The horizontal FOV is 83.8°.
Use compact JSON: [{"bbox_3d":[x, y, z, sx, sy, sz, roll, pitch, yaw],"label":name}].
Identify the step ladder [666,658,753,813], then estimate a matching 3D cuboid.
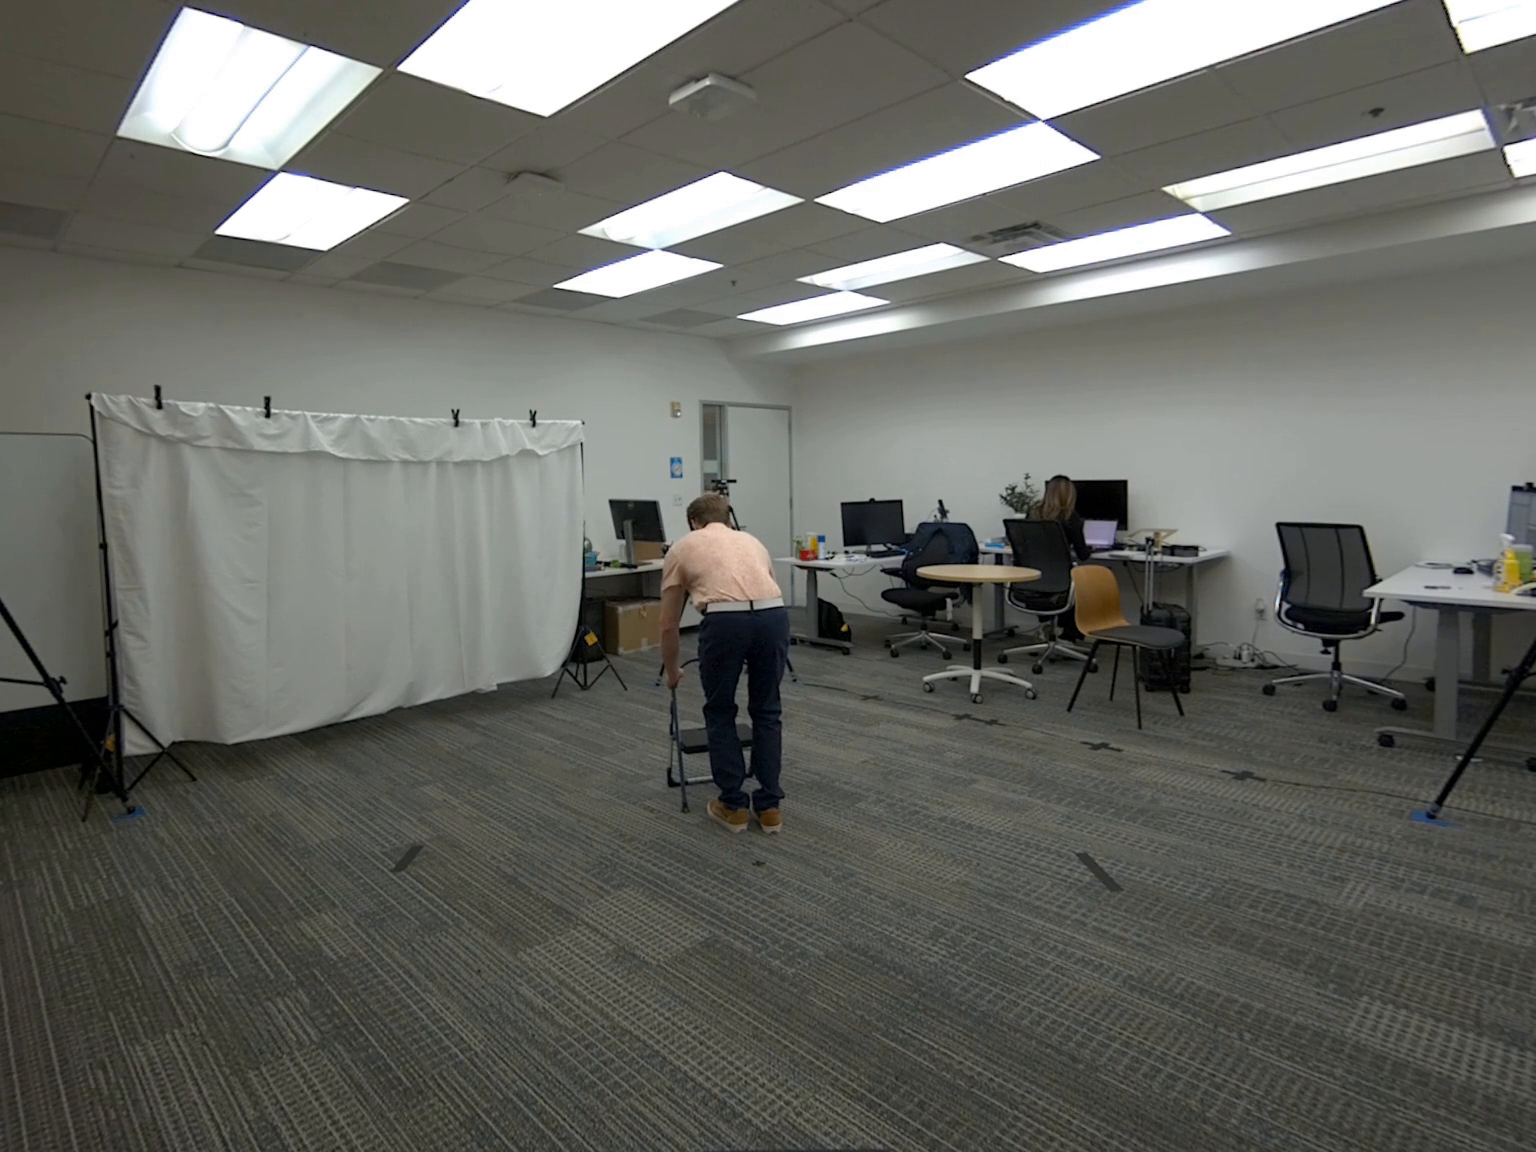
[{"bbox_3d":[-0.220,0.671,3.811,0.424,0.604,0.356,-3,4,-18],"label":"step ladder"}]
